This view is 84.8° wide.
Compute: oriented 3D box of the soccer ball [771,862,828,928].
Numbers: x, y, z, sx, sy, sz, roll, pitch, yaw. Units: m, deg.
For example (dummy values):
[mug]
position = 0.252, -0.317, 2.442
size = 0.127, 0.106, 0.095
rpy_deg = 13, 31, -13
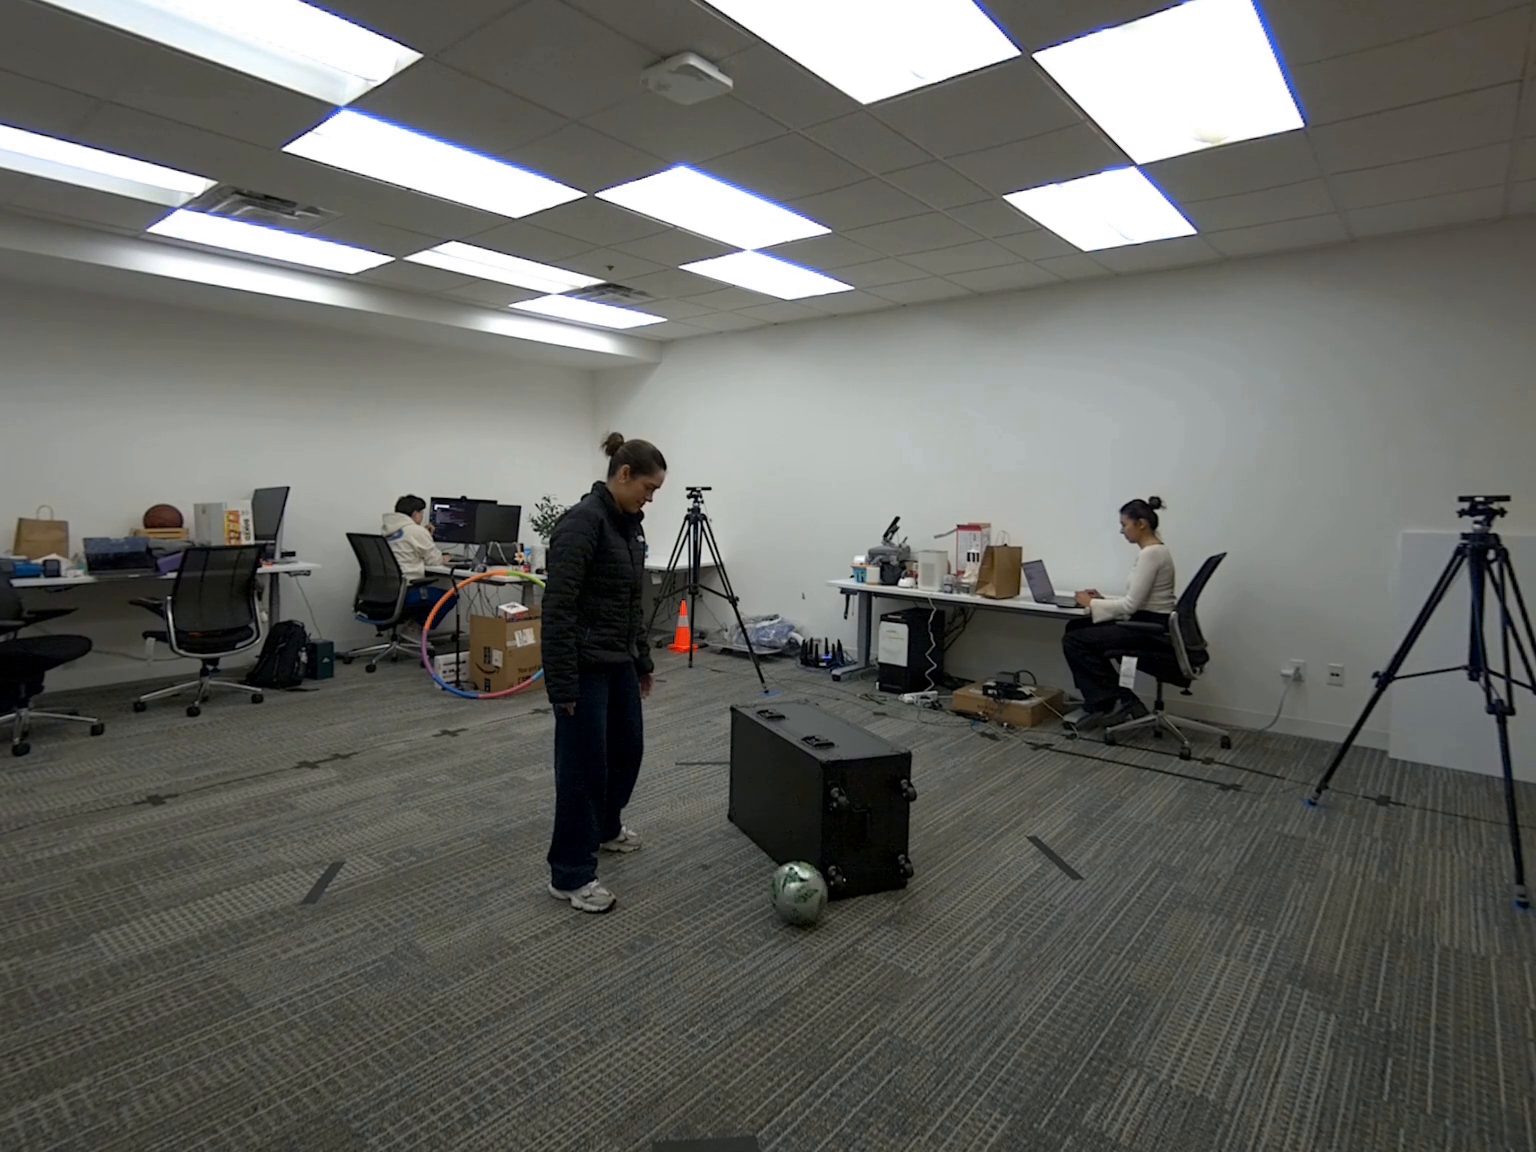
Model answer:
[soccer ball]
position = 0.092, 1.014, 2.735
size = 0.187, 0.187, 0.188
rpy_deg = 1, 4, -2
